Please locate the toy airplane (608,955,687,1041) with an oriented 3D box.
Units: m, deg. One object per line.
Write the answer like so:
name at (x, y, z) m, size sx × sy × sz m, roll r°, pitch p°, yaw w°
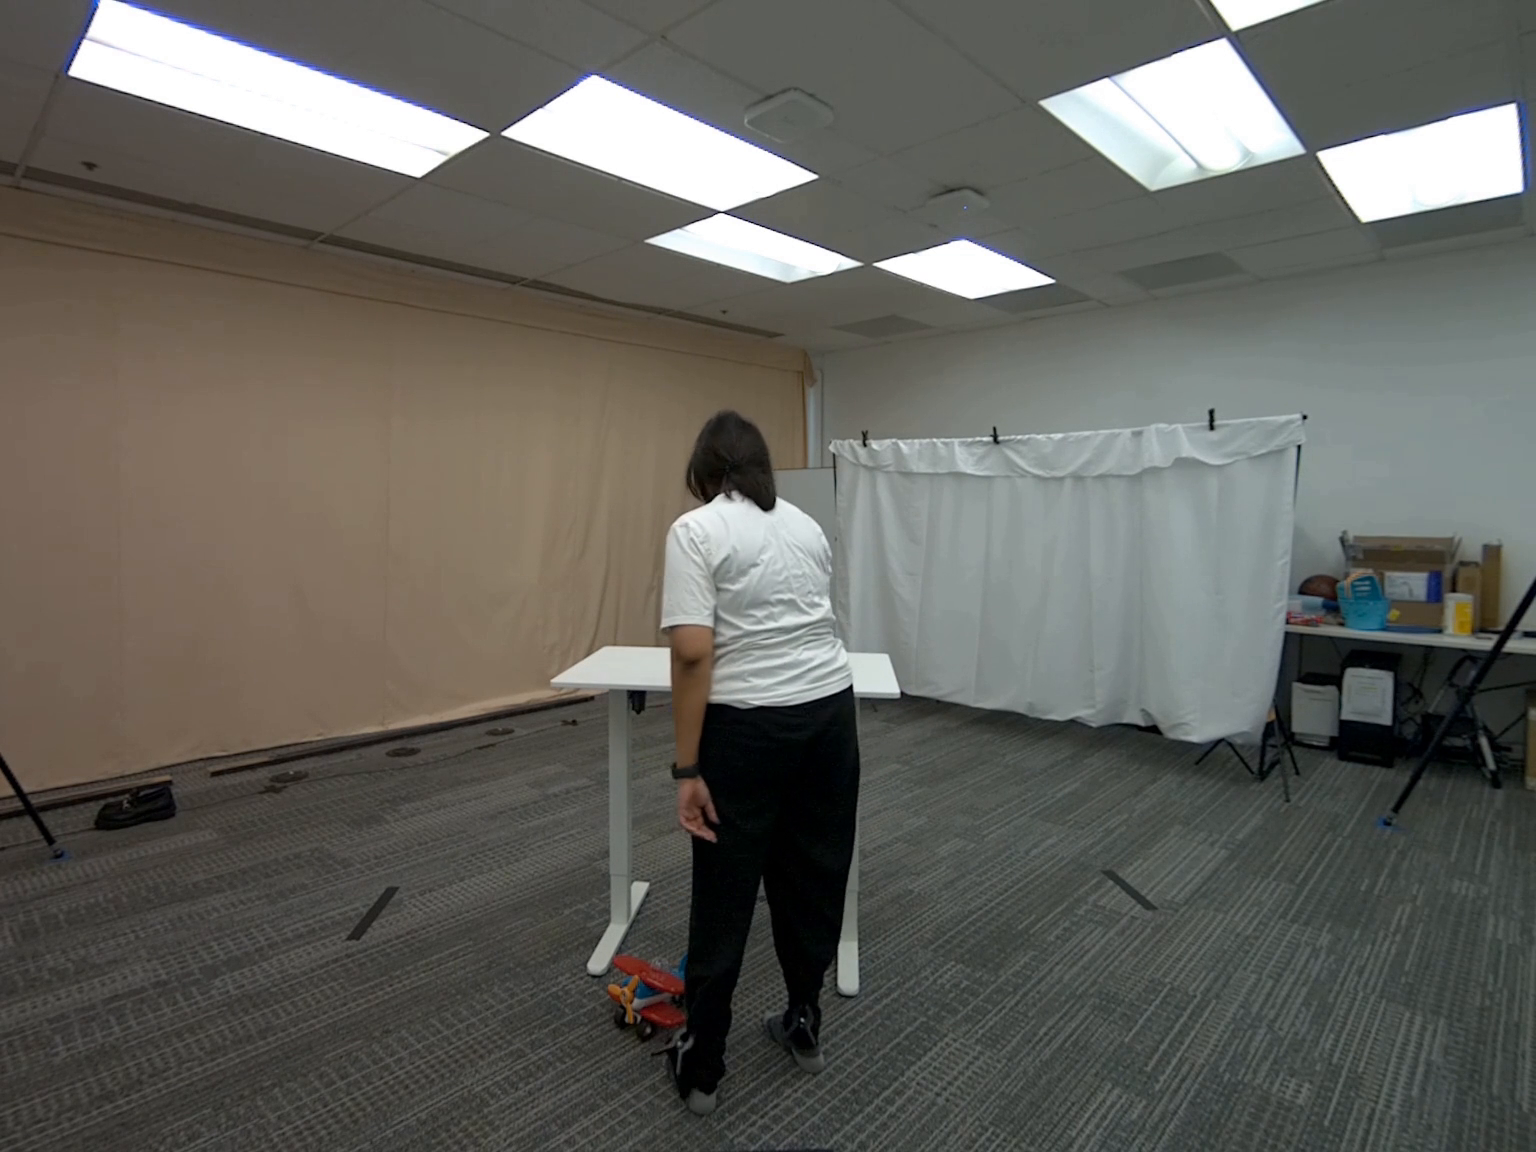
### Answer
toy airplane at (-0.317, 1.133, 2.290) m, size 0.254 × 0.156 × 0.257 m, roll 0°, pitch 6°, yaw 11°
